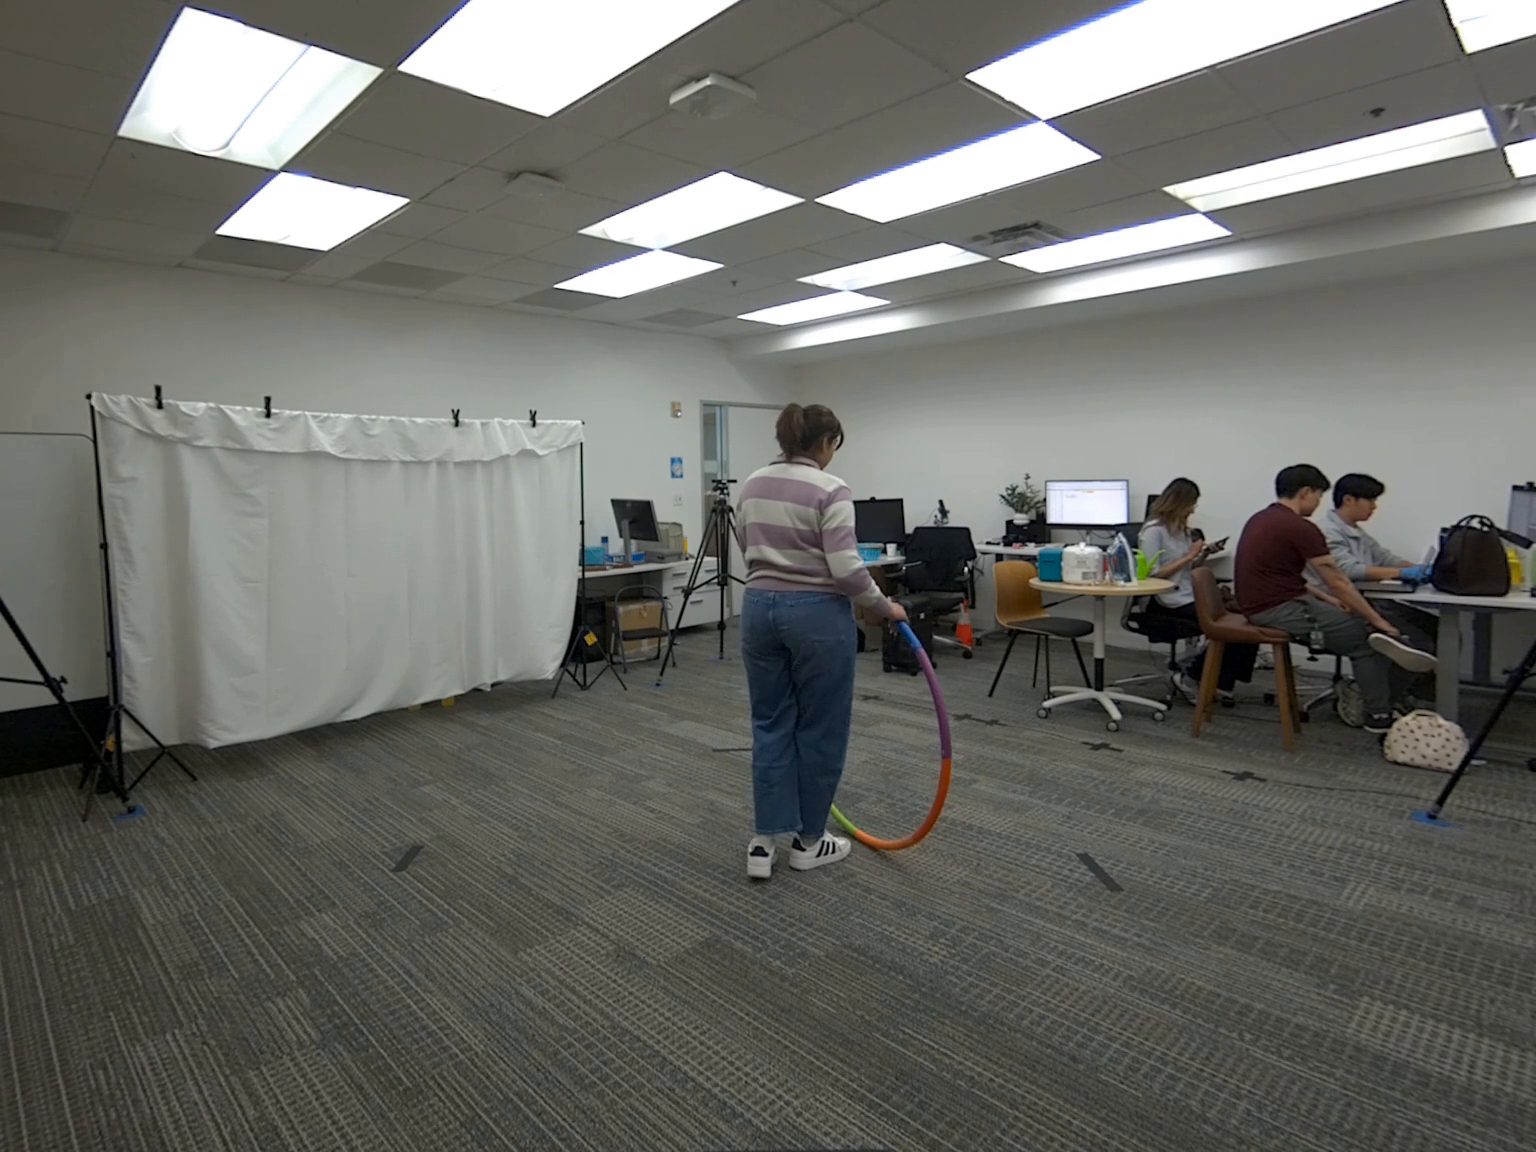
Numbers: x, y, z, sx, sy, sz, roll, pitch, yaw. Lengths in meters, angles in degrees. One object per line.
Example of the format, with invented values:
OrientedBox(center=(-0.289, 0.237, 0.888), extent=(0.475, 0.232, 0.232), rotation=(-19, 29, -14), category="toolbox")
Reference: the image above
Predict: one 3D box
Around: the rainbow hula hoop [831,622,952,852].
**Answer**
OrientedBox(center=(0.348, 0.540, 3.266), extent=(0.050, 0.982, 1.012), rotation=(-3, 5, -29), category="rainbow hula hoop")
